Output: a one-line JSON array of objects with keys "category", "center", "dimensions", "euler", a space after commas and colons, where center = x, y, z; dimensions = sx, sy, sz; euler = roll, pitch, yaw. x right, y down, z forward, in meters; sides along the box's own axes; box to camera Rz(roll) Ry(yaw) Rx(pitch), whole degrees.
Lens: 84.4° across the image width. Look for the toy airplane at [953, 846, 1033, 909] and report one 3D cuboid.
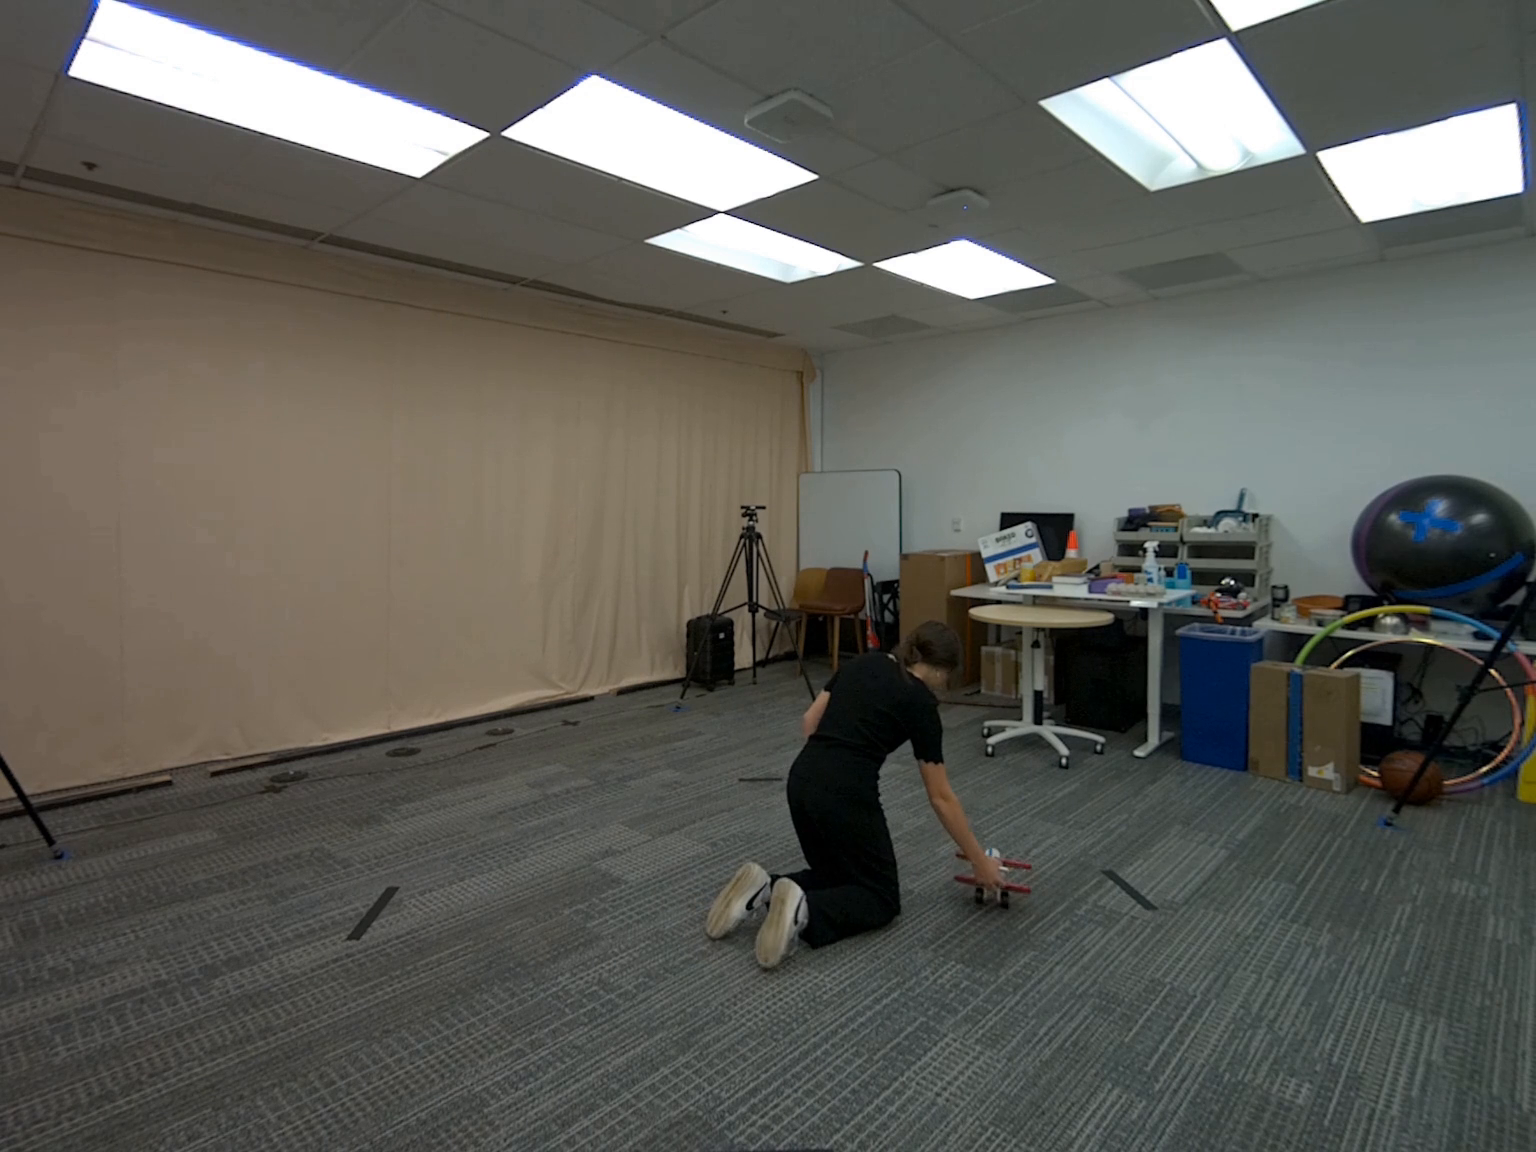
[{"category": "toy airplane", "center": [0.797, 1.034, 2.892], "dimensions": [0.251, 0.157, 0.257], "euler": [20, -38, -1]}]
